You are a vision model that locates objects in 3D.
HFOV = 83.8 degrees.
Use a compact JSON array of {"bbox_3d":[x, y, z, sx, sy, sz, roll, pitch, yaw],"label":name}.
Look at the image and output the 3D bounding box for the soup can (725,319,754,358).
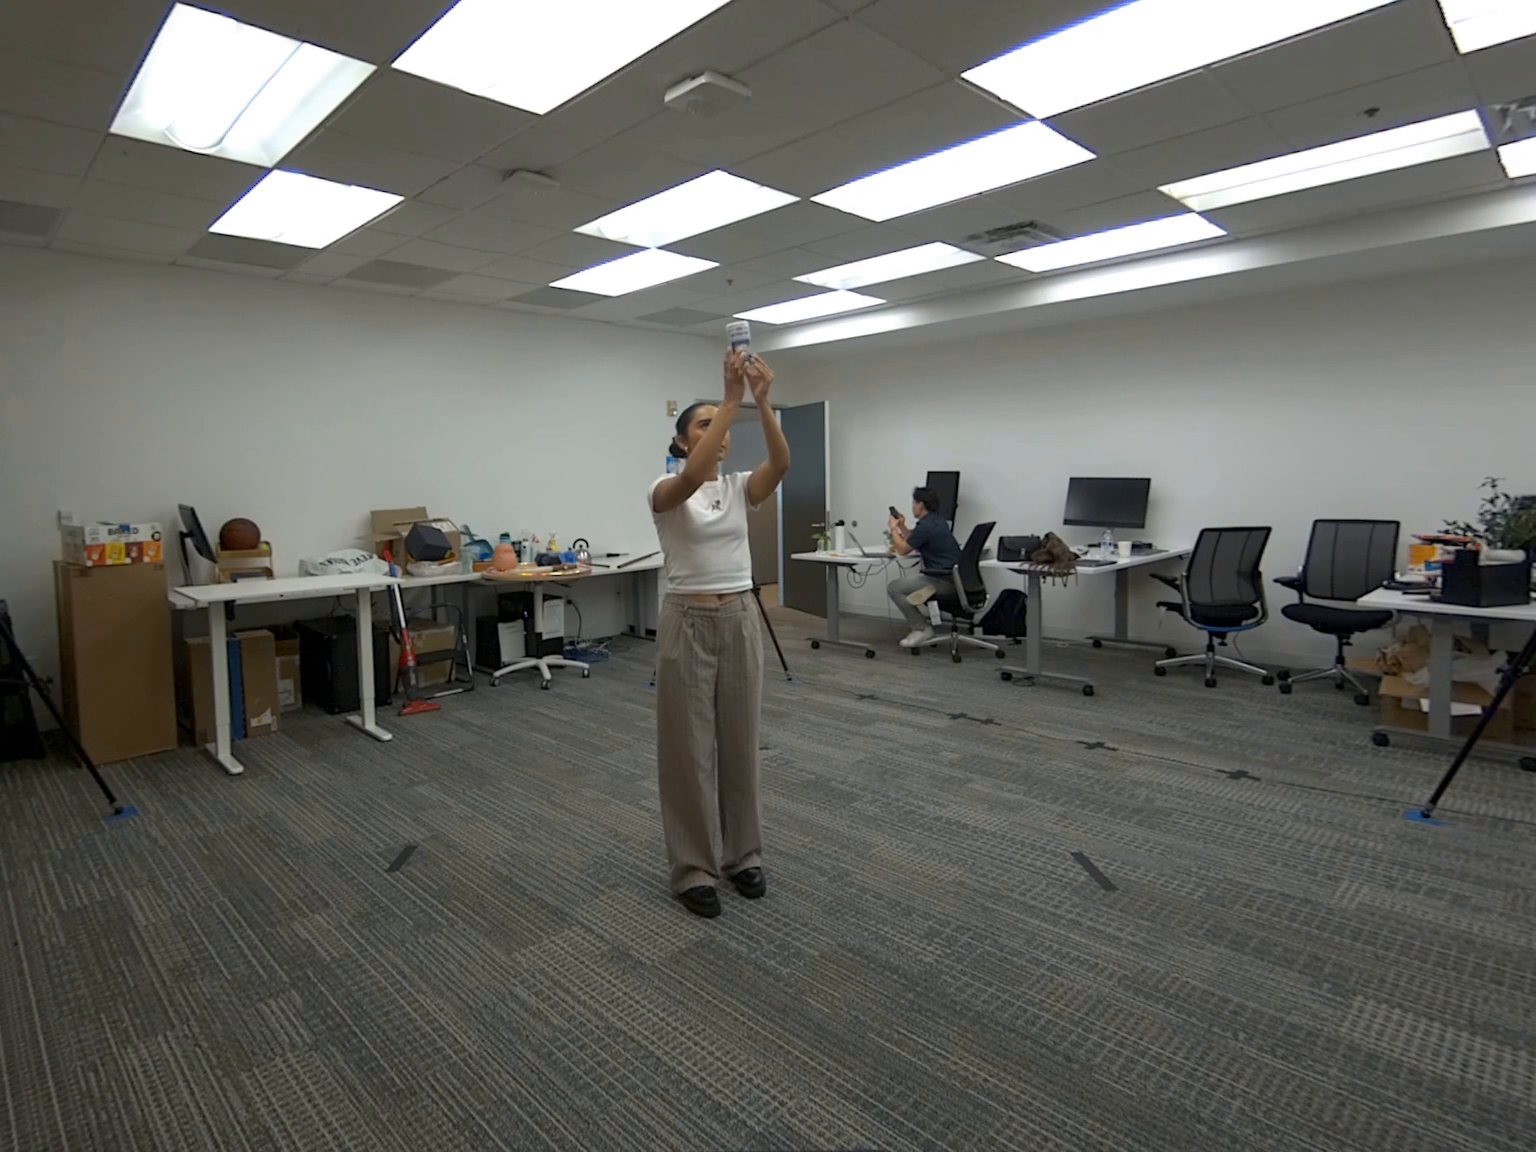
[{"bbox_3d":[-0.081,-0.681,2.500,0.067,0.121,0.067,-8,5,-1],"label":"soup can"}]
